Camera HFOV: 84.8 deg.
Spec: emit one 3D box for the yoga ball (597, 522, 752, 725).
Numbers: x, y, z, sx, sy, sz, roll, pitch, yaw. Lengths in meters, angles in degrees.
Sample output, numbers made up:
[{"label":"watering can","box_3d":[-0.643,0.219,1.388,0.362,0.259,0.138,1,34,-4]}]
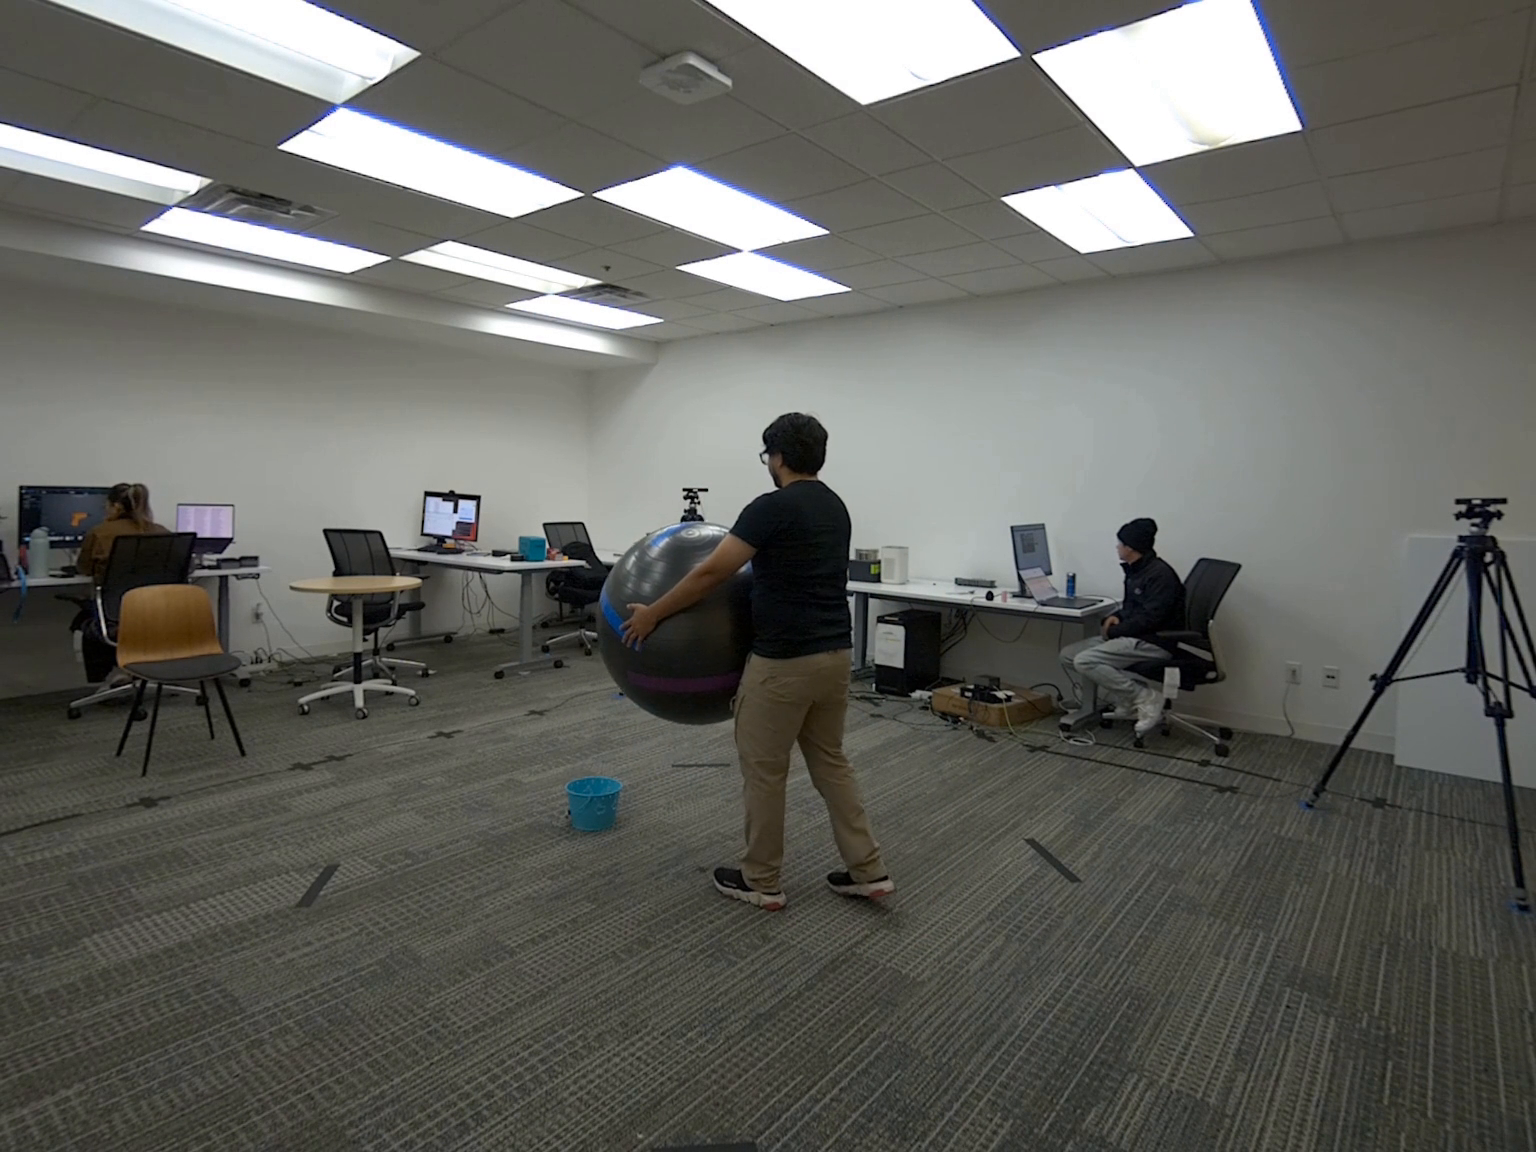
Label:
[{"label":"yoga ball","box_3d":[-0.277,0.179,3.226,0.757,0.756,0.761,1,4,-2]}]
